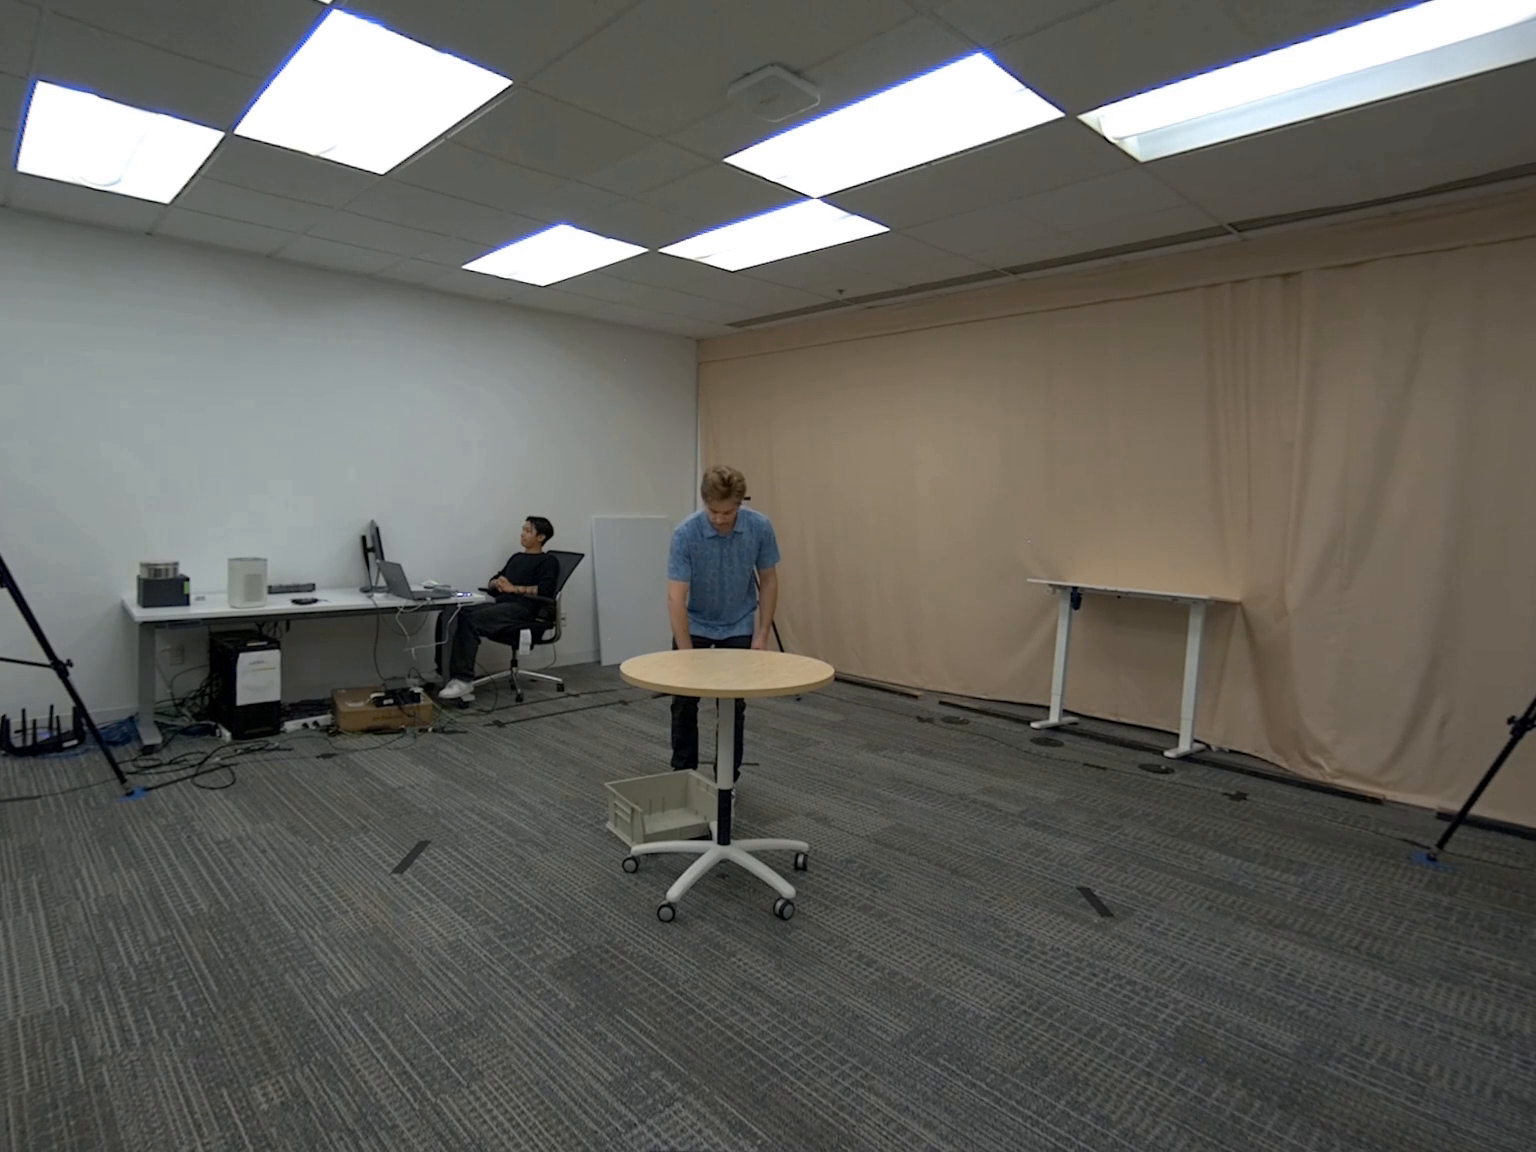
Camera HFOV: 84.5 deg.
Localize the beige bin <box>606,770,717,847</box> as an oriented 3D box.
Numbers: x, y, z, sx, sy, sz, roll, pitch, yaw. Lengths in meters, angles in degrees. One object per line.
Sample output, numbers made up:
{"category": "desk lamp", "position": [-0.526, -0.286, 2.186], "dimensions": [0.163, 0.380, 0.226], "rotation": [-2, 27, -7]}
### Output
{"category": "beige bin", "position": [-0.424, 0.977, 3.508], "dimensions": [0.413, 0.188, 0.386], "rotation": [-3, 5, -34]}
